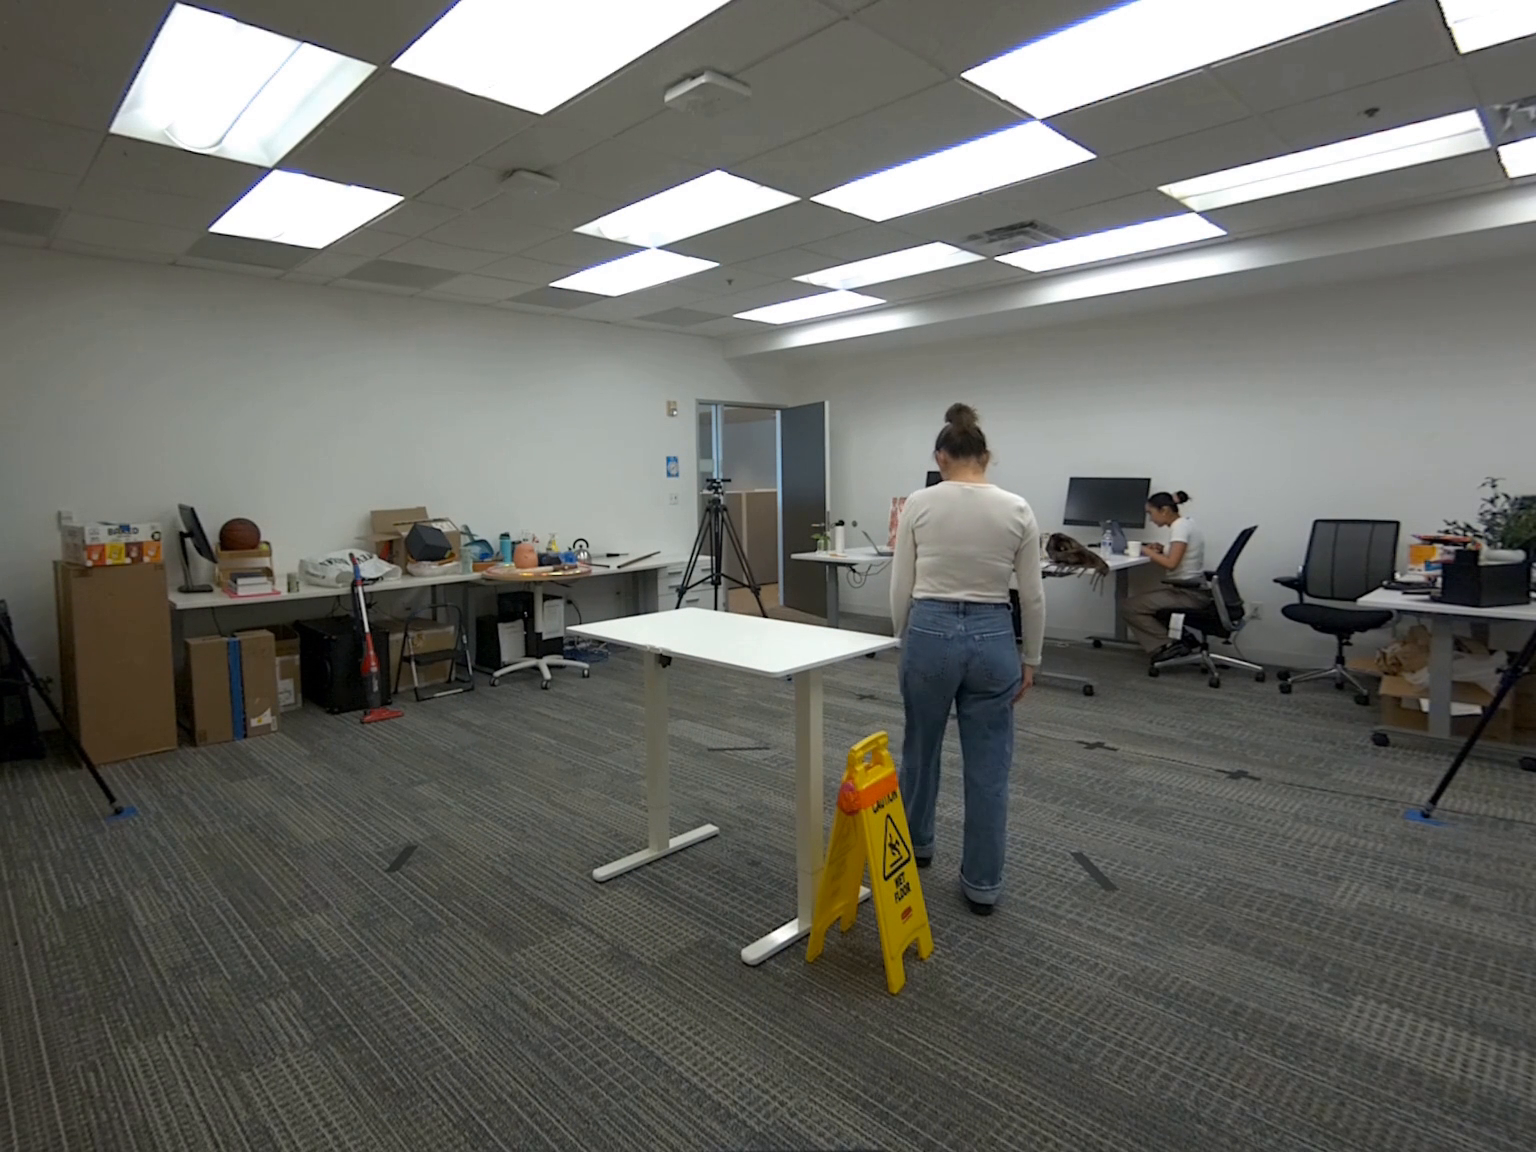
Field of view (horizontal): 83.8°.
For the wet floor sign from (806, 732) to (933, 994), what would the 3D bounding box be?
[{"bbox_3d":[0.300,0.791,2.467,0.298,0.643,0.275,3,6,36],"label":"wet floor sign"}]
